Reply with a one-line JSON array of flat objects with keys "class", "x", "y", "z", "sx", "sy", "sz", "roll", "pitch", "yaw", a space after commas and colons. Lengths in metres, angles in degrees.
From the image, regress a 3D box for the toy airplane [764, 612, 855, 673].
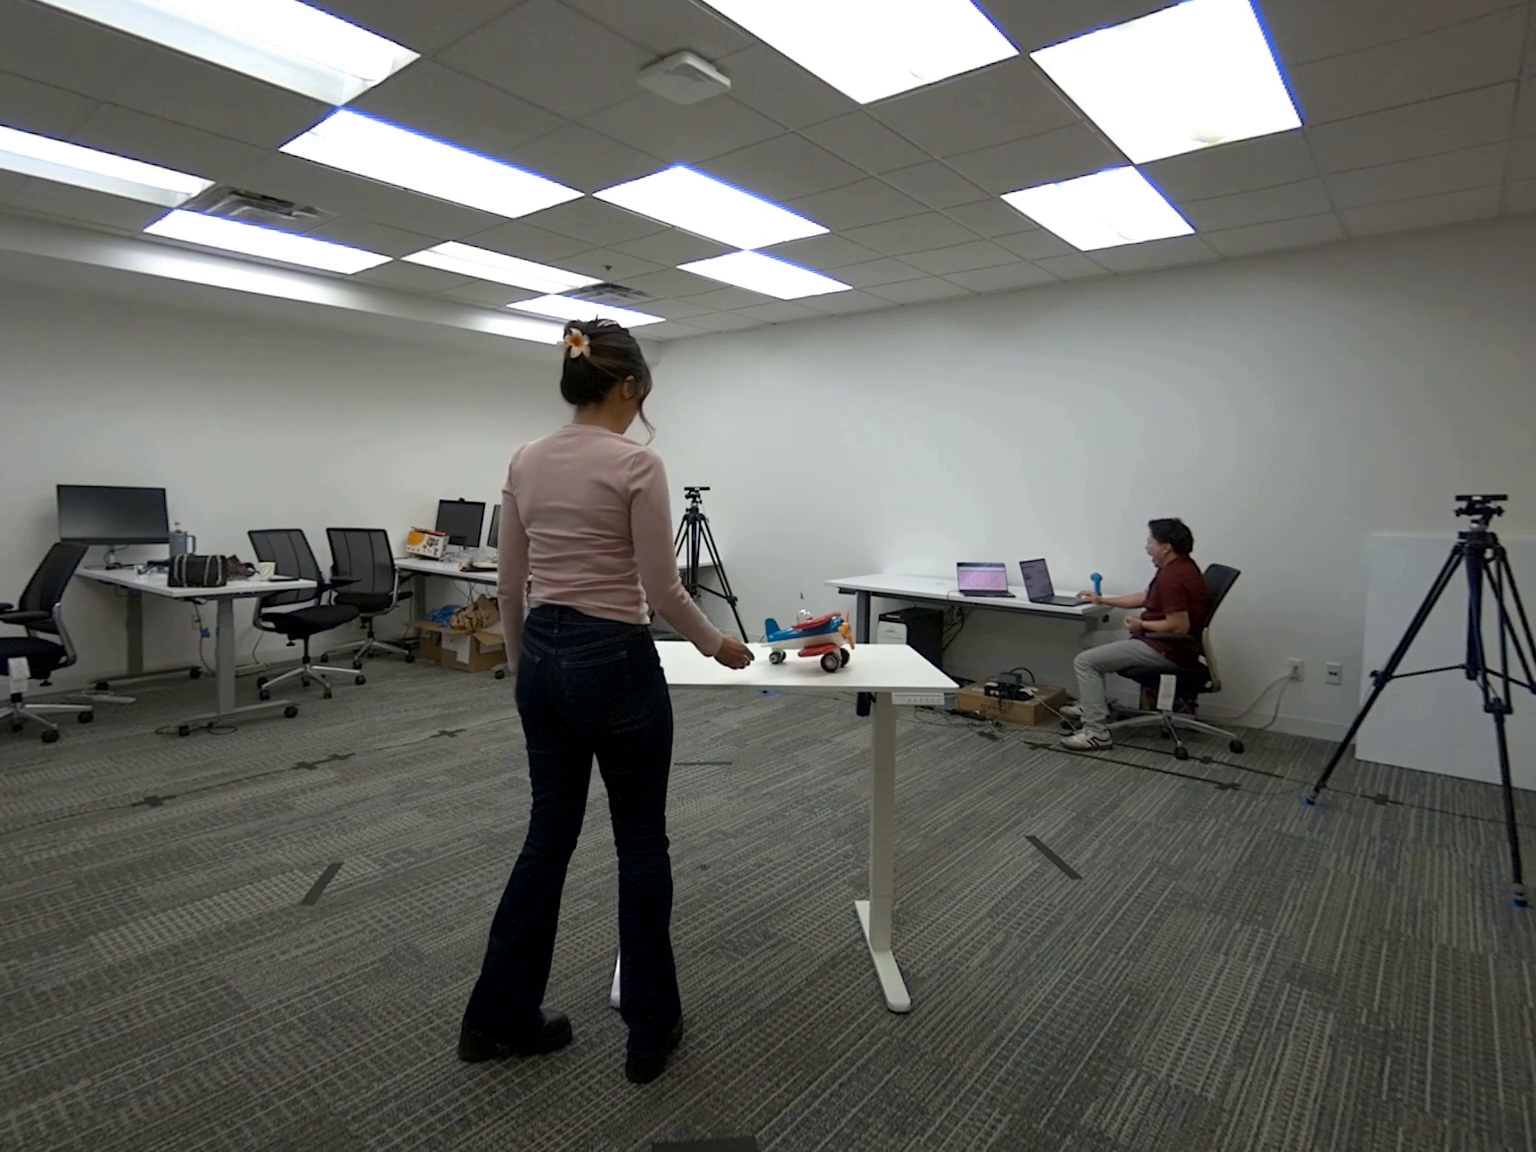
[{"class": "toy airplane", "x": 0.107, "y": 0.182, "z": 2.426, "sx": 0.258, "sy": 0.156, "sz": 0.253, "roll": 1, "pitch": 5, "yaw": -4}]
